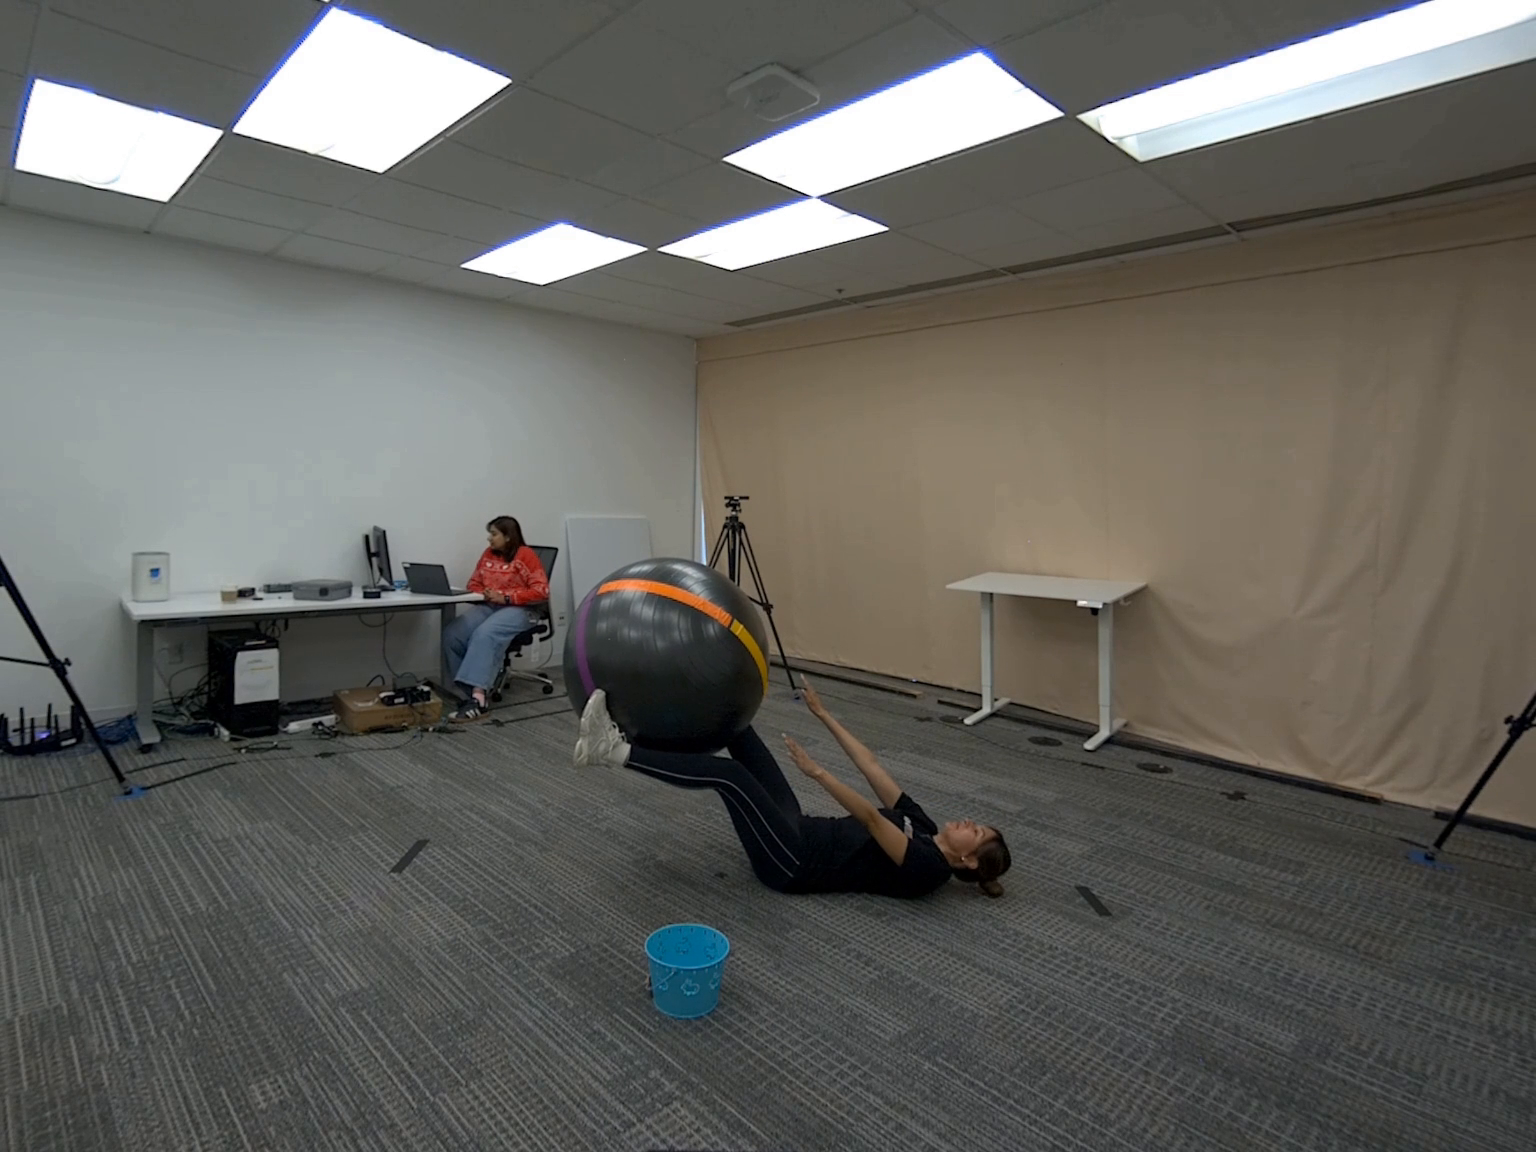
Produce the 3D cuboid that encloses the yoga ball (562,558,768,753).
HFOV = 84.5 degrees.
[{"bbox_3d":[-0.366,0.313,3.100,0.757,0.756,0.761,1,4,-1],"label":"yoga ball"}]
